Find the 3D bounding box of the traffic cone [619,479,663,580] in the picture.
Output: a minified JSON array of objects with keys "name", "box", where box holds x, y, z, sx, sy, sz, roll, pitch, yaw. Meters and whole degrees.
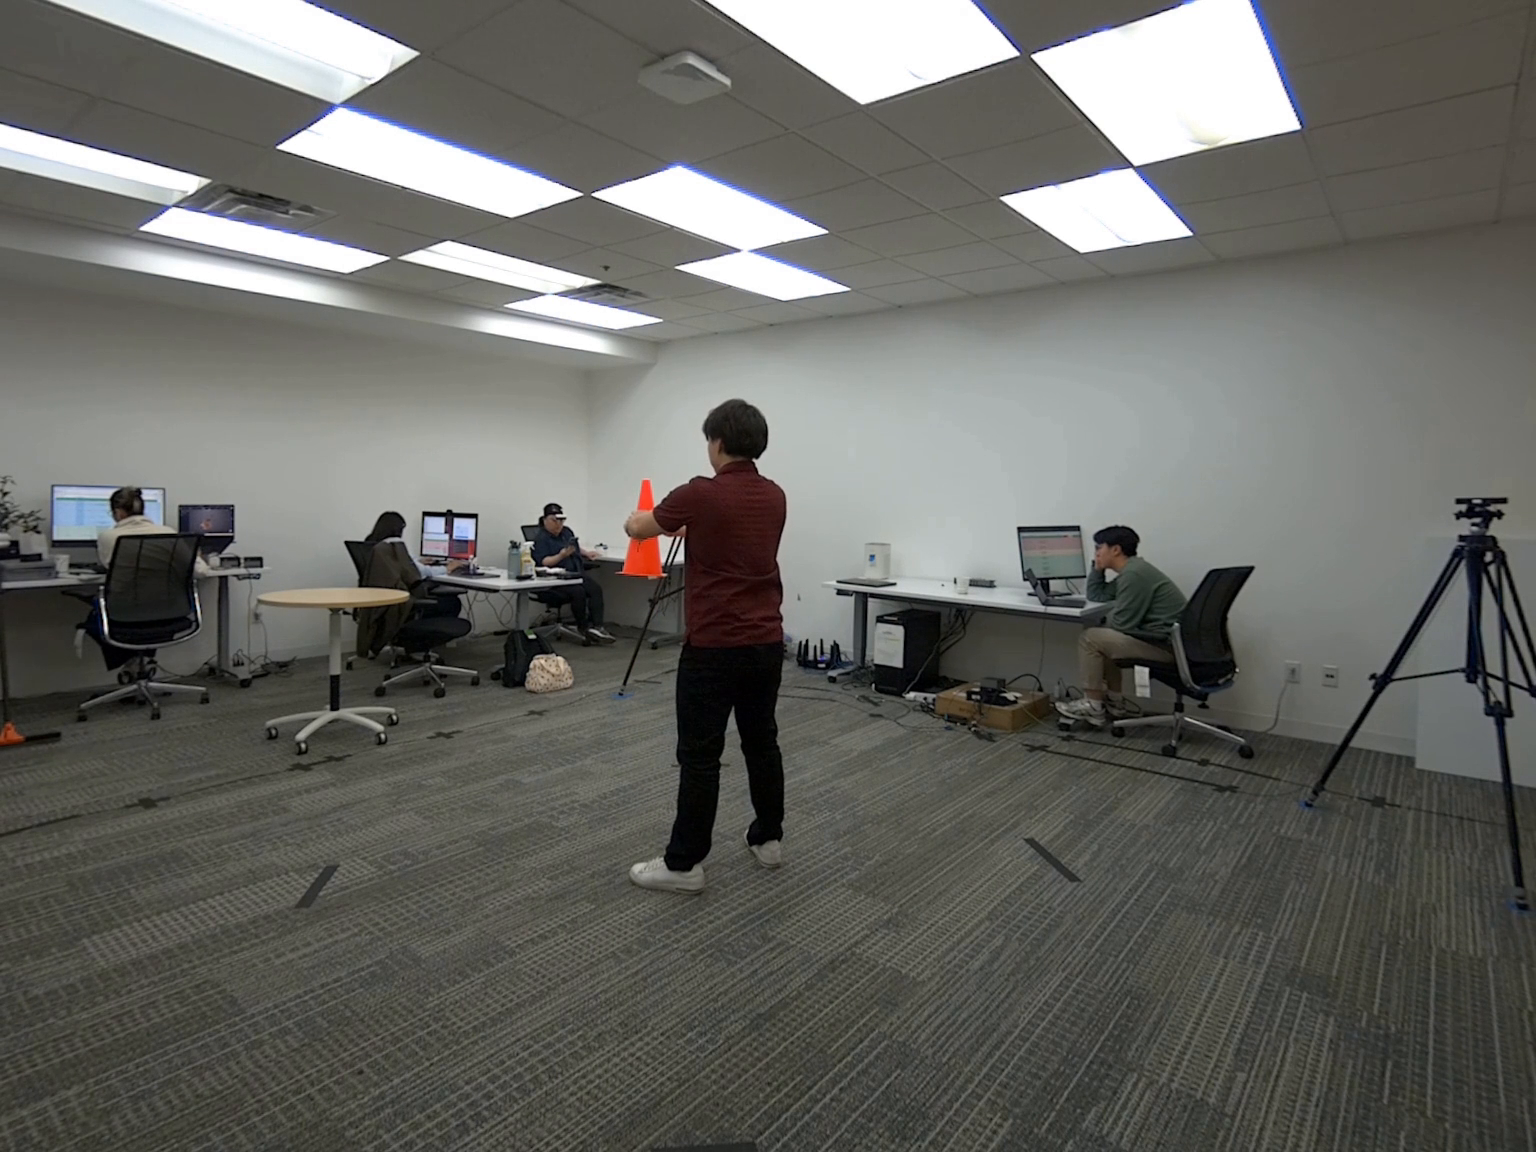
[{"name":"traffic cone","box":[-0.509,-0.200,3.426,0.203,0.383,0.205,6,1,-1]}]
